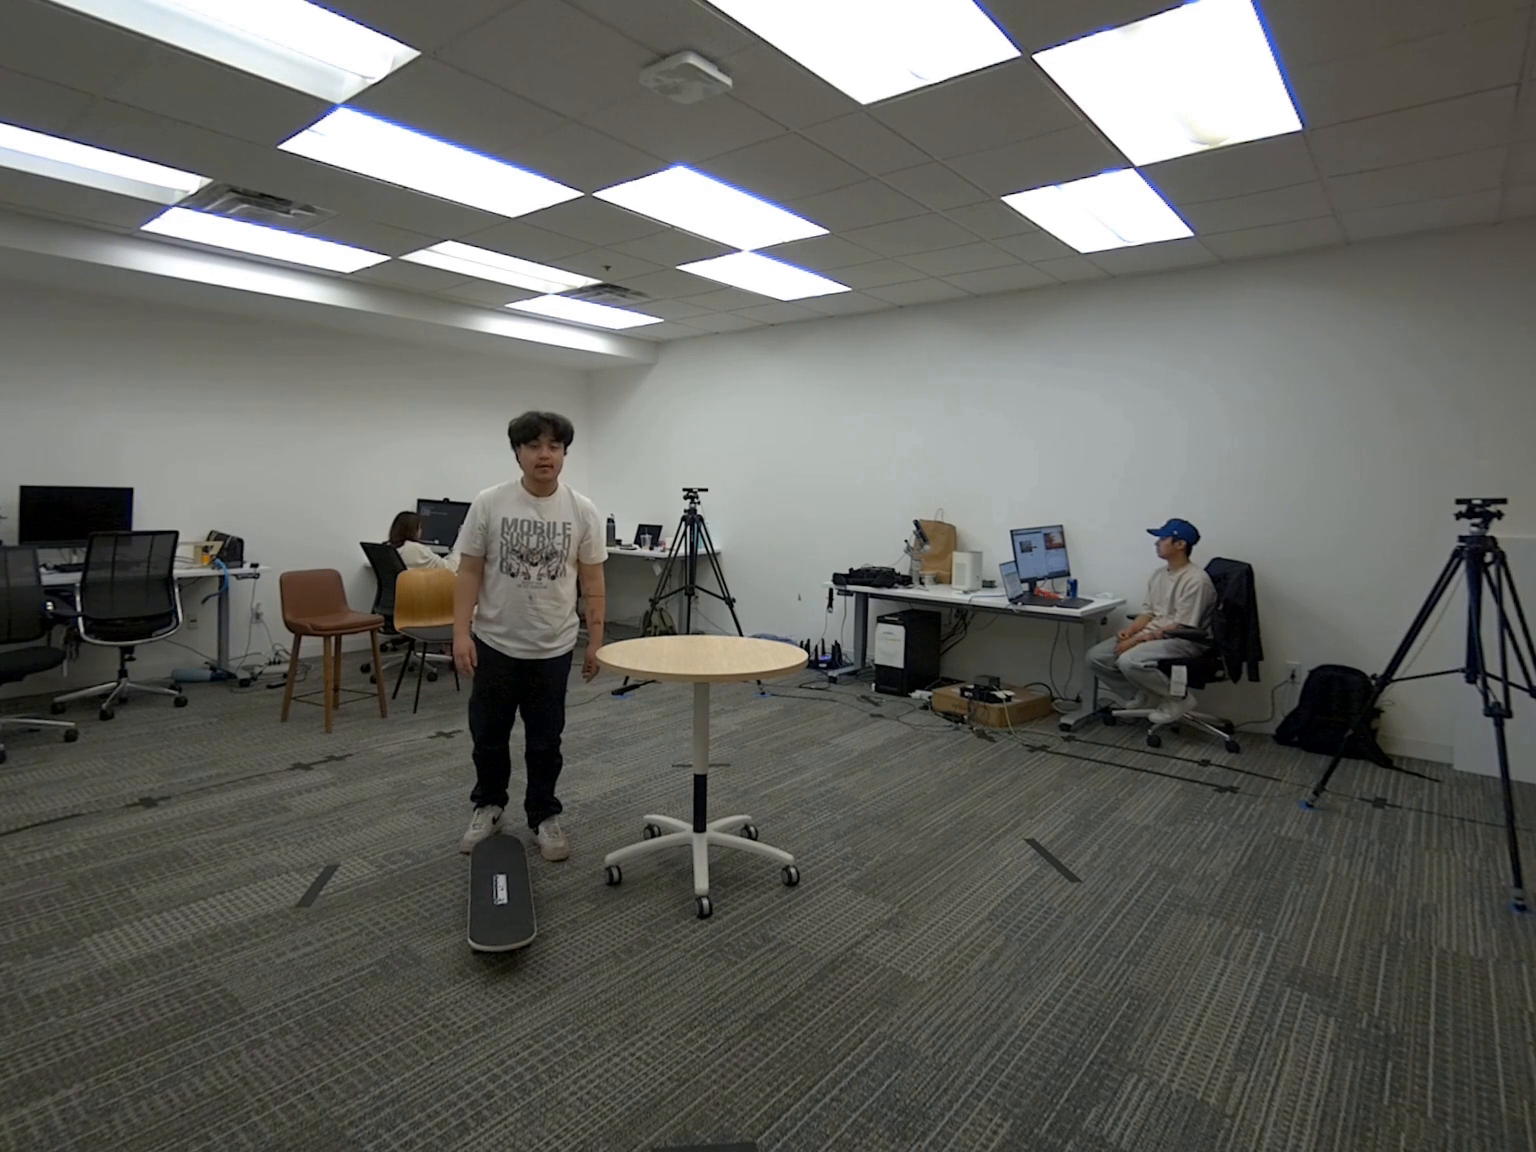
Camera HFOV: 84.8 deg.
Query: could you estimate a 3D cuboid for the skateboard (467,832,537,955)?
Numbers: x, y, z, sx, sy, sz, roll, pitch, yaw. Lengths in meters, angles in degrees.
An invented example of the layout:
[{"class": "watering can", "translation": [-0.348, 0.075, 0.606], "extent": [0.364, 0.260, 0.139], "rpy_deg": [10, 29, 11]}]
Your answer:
[{"class": "skateboard", "translation": [-0.870, 1.039, 2.741], "extent": [0.190, 0.110, 0.802], "rpy_deg": [0, 5, -18]}]
